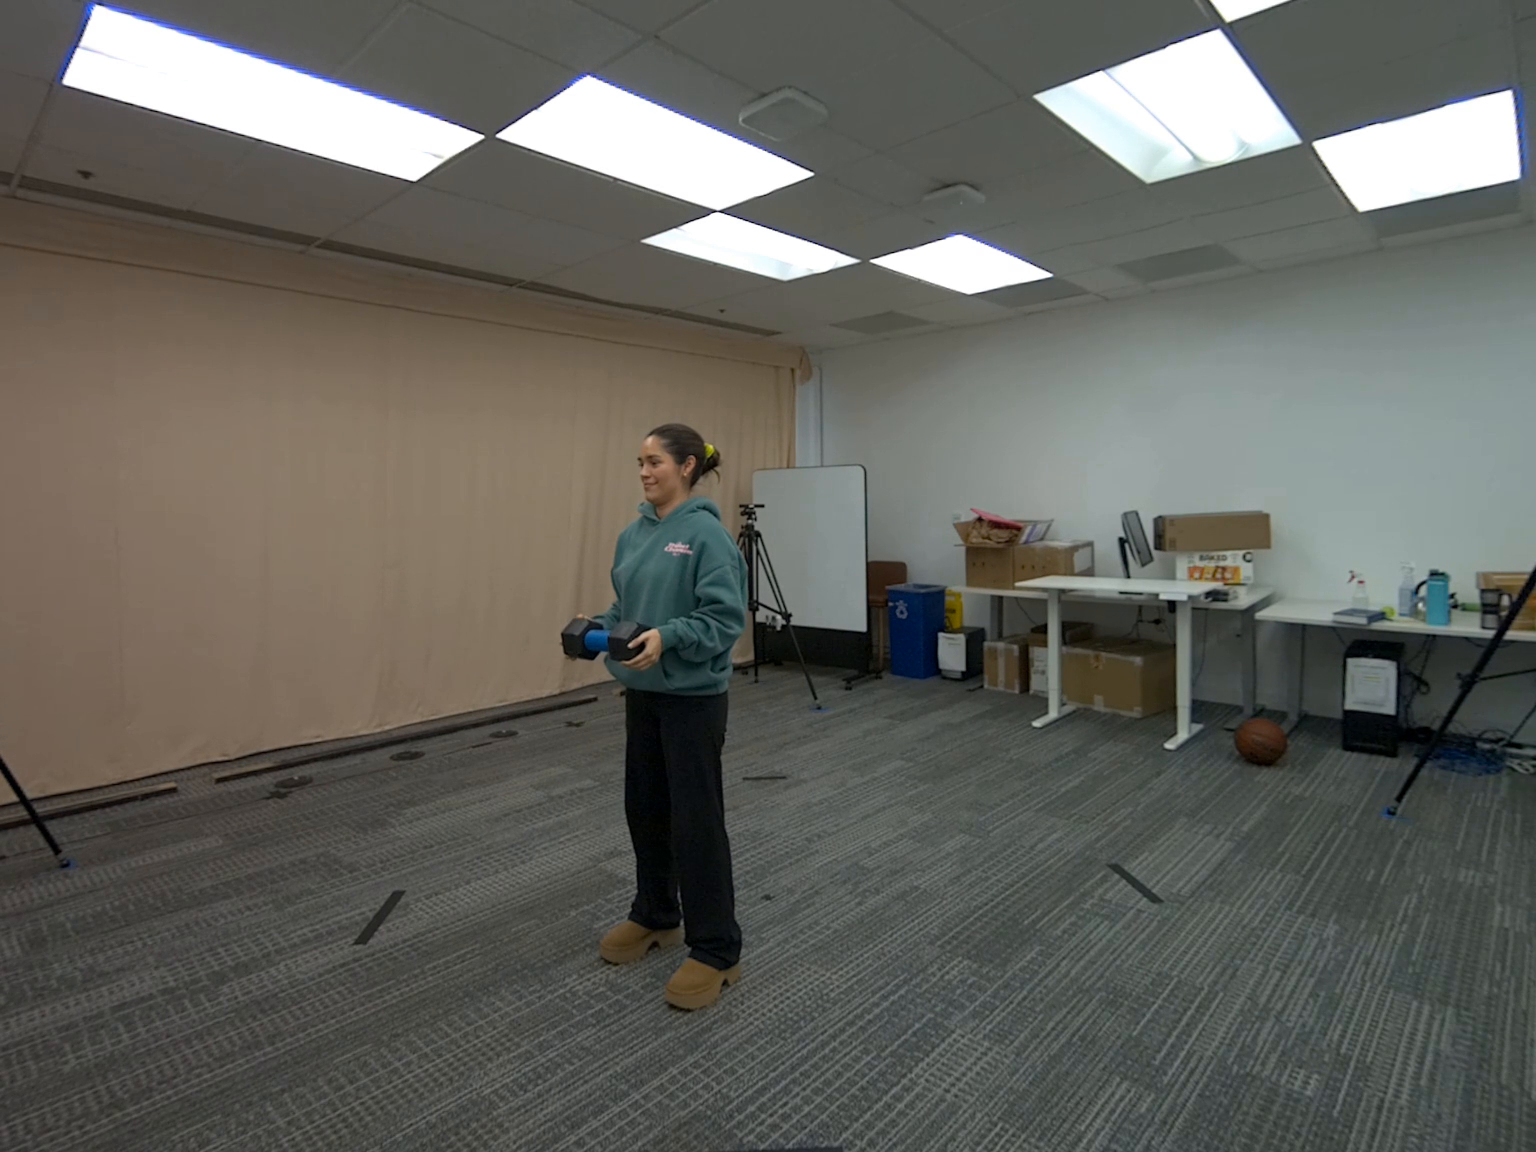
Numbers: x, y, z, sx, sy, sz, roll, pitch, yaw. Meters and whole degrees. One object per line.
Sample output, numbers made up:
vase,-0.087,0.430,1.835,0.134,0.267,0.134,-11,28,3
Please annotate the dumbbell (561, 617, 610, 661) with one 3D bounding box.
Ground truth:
dumbbell,-0.433,0.179,2.331,0.303,0.106,0.122,1,44,44
